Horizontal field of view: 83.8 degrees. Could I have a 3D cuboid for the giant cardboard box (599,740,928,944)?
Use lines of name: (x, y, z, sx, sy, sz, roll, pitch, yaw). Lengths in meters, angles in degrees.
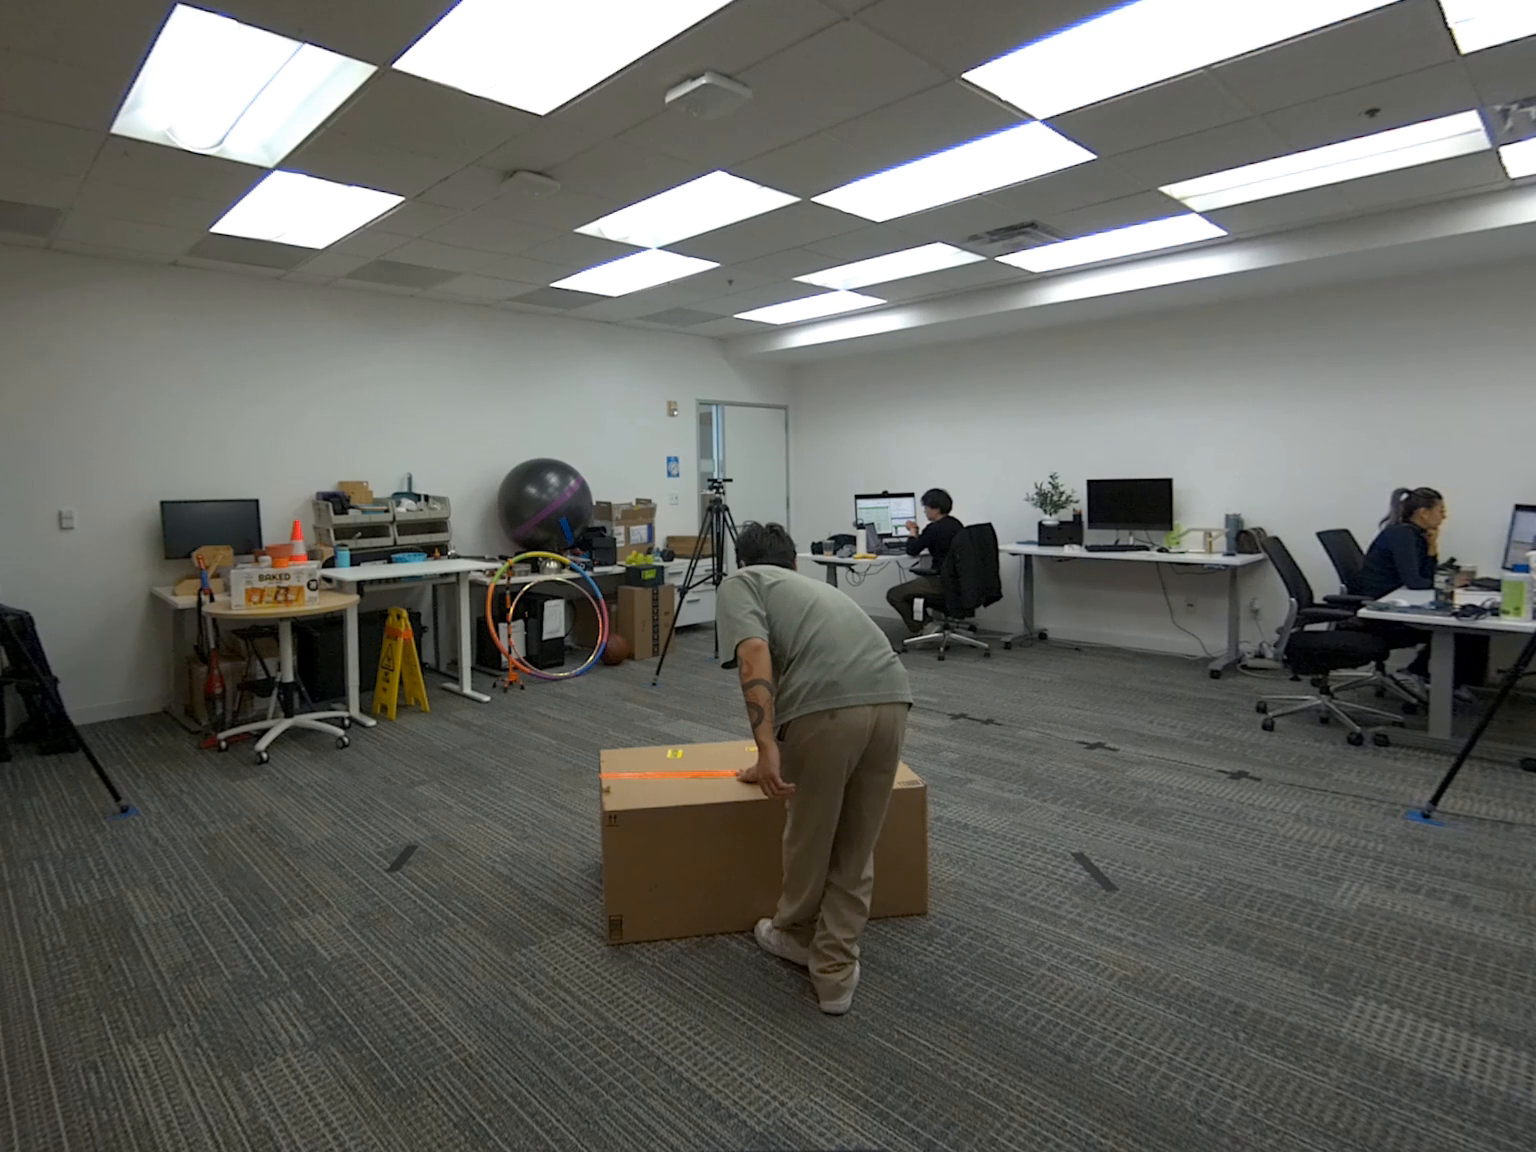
giant cardboard box: (-0.051, 0.851, 2.913, 1.017, 0.424, 0.585, -2, 5, -10)
